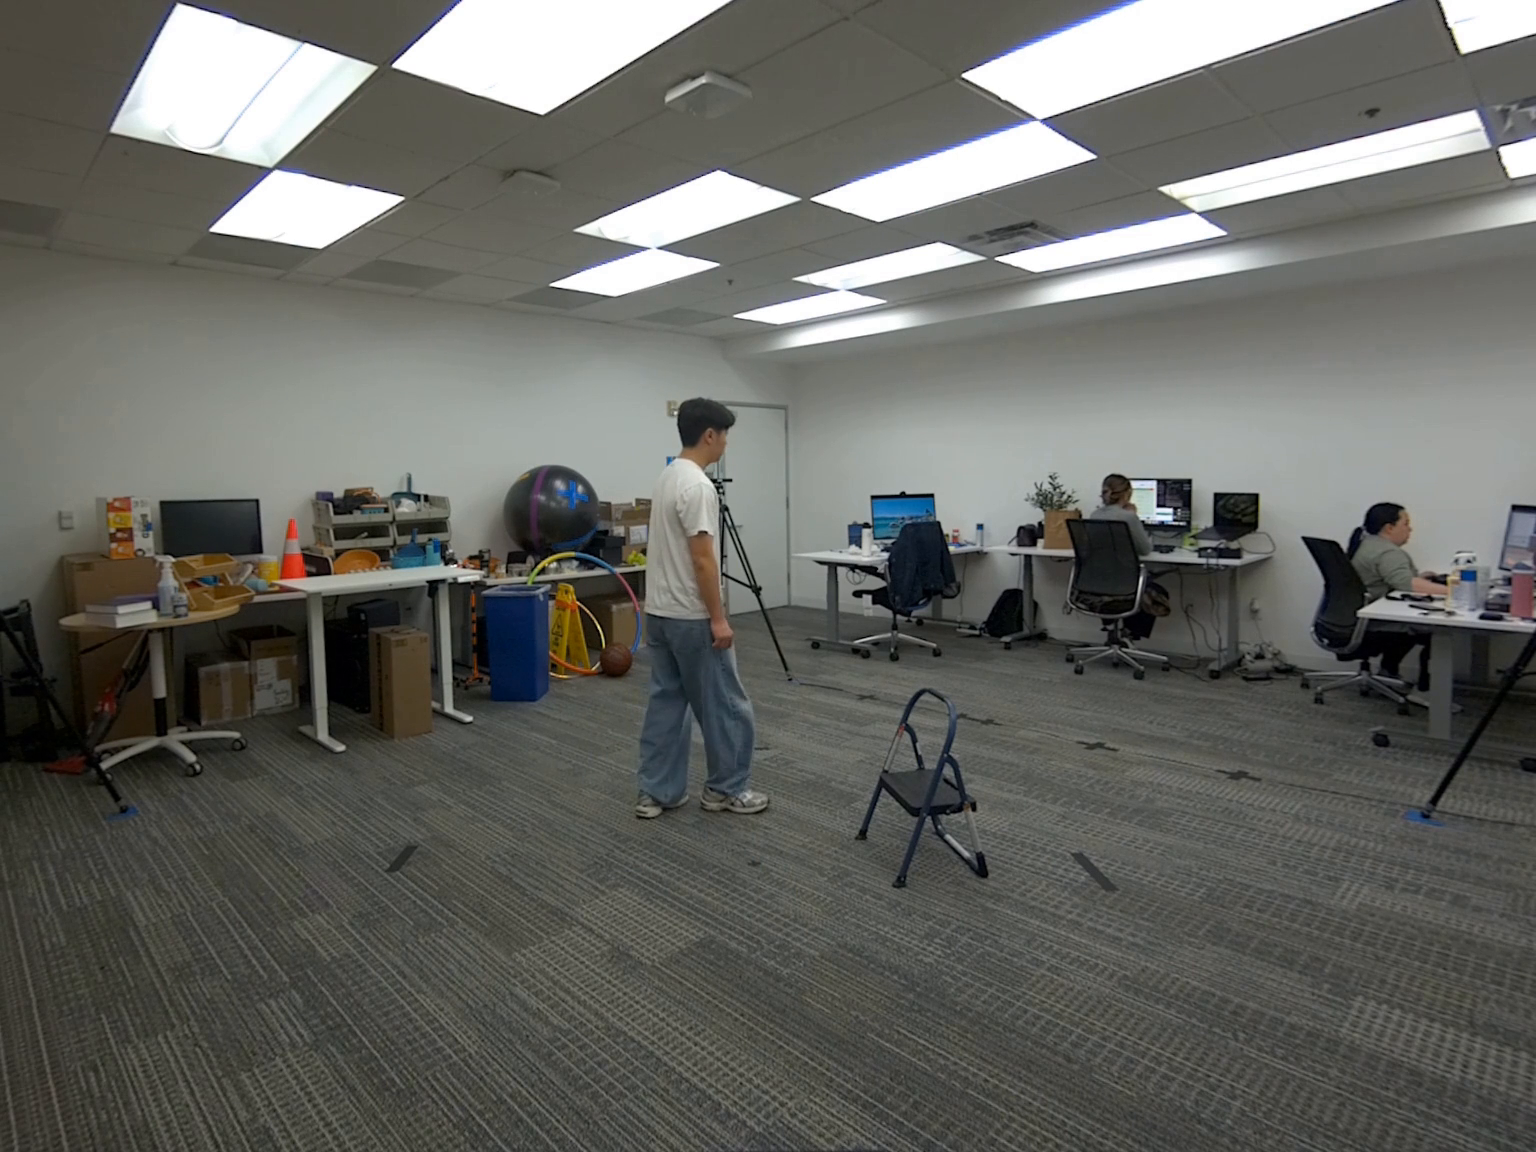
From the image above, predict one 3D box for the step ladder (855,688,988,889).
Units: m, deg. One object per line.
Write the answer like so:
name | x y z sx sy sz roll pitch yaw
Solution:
step ladder | 0.554 0.734 3.115 0.346 0.604 0.437 -2 5 -12
